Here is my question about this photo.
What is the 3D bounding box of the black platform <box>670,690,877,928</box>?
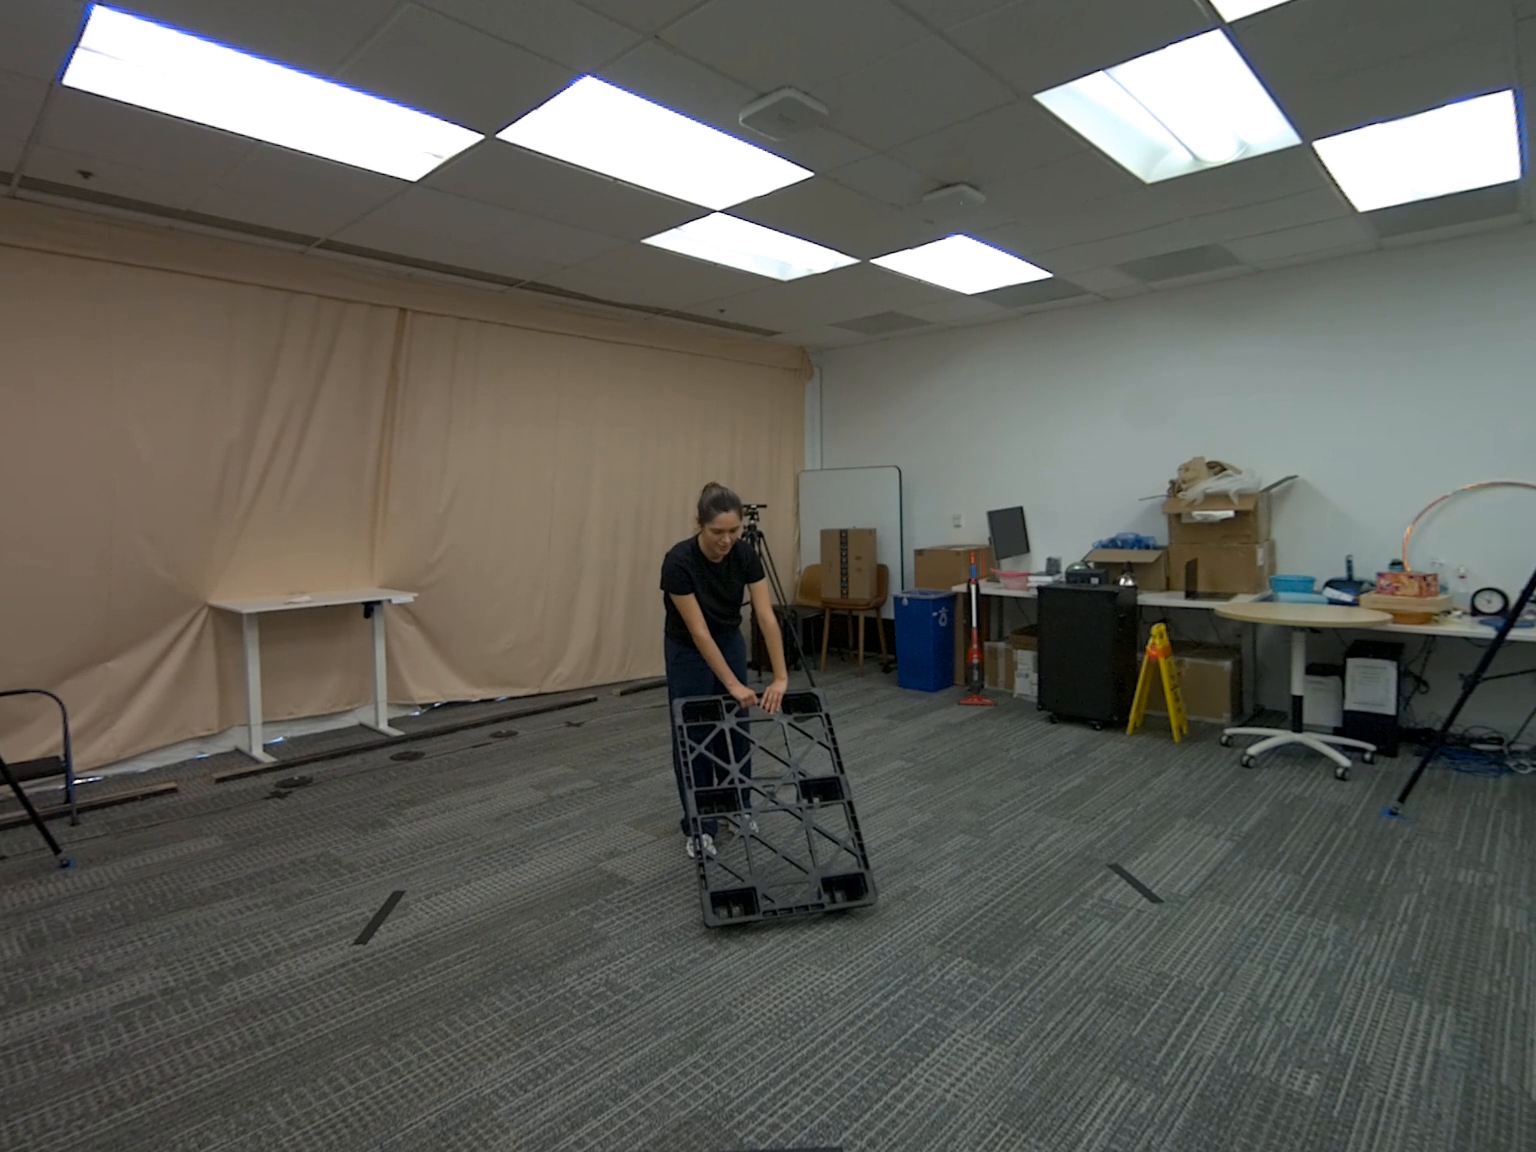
[{"bbox_3d":[0.013,0.810,3.017,0.596,0.824,0.142,-3,-34,-14],"label":"black platform"}]
